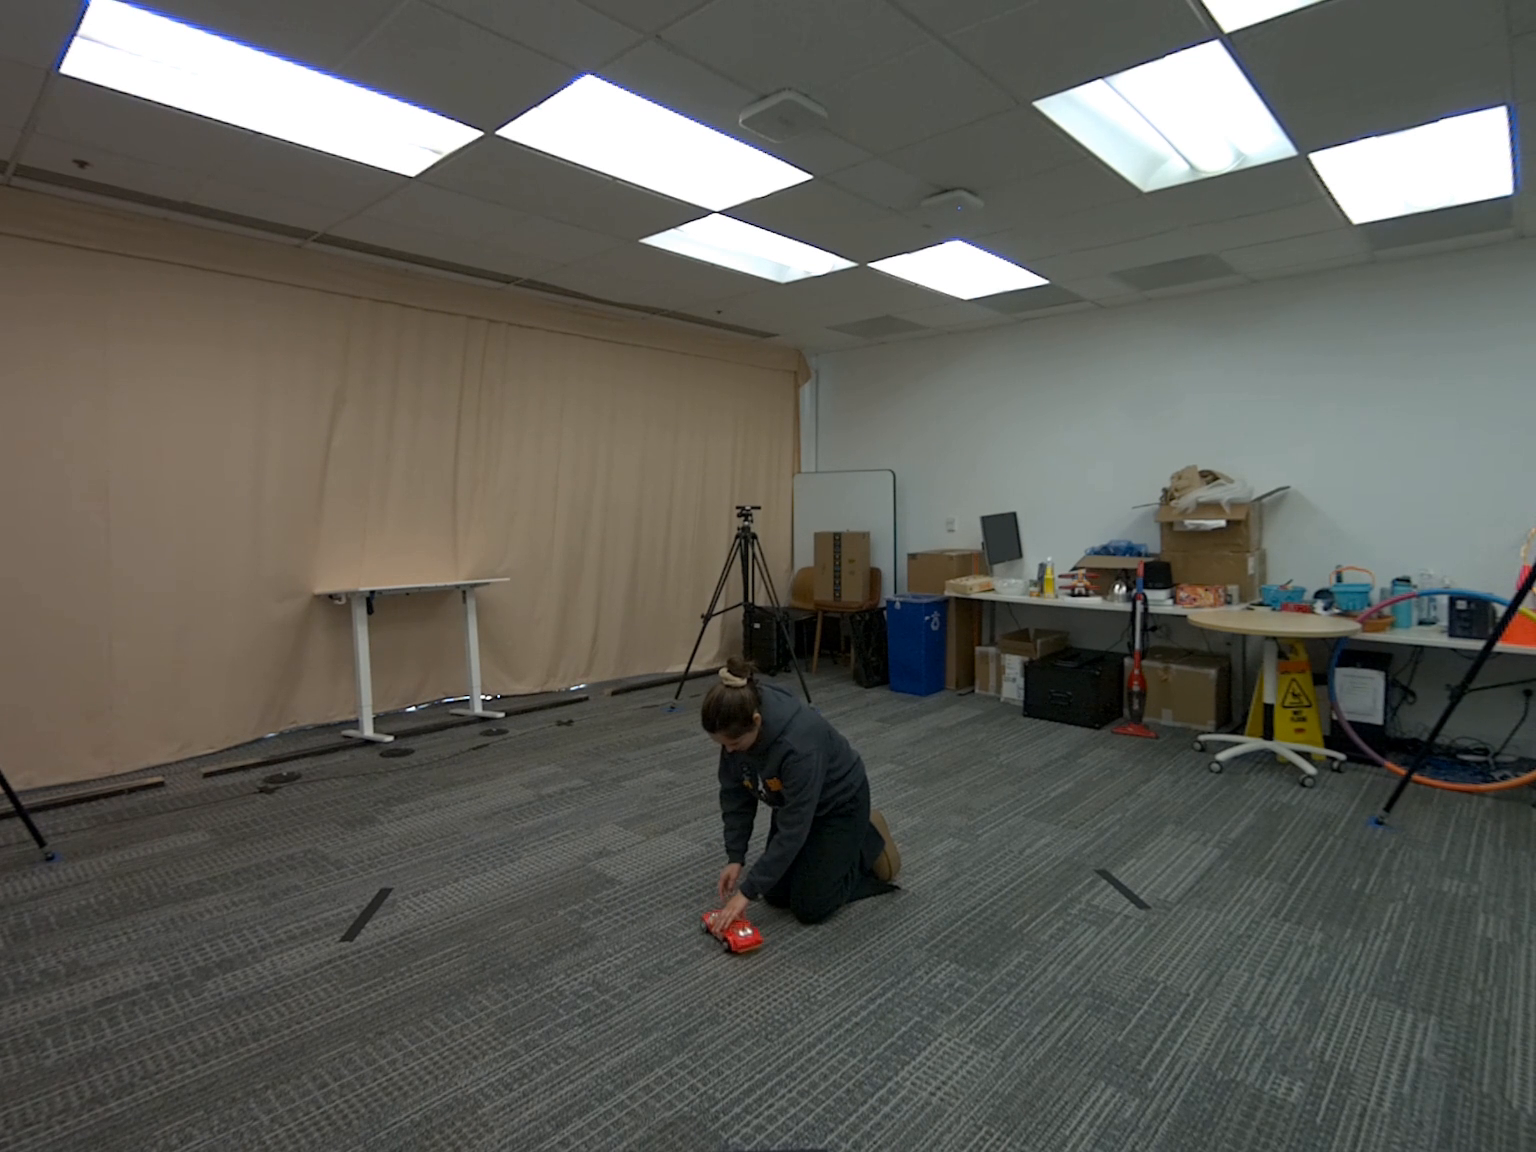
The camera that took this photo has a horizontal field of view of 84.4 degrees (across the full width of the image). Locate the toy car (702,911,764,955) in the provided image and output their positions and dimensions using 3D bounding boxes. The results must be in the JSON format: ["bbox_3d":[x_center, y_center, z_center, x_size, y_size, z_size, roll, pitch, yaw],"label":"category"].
[{"bbox_3d":[-0.089,1.135,2.691,0.127,0.083,0.260,-3,-5,-30],"label":"toy car"}]
